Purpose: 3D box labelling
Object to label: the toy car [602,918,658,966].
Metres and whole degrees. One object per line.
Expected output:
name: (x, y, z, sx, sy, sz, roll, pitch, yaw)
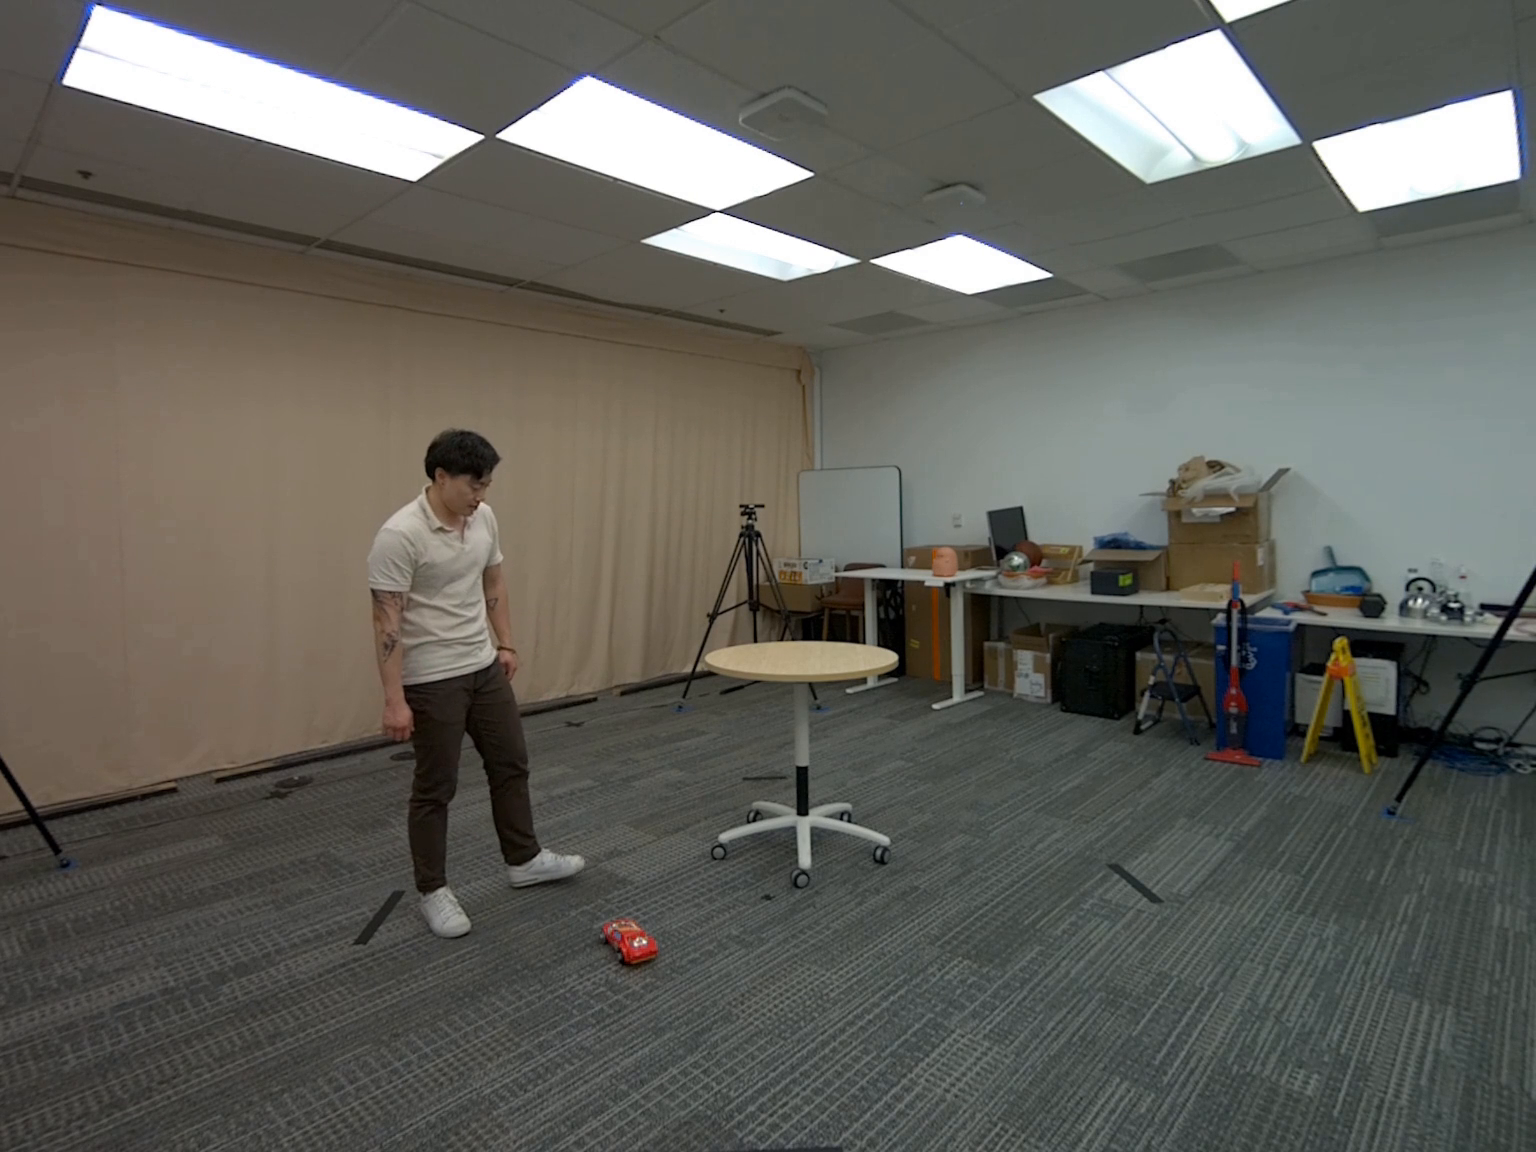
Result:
toy car: (-0.434, 1.152, 2.617, 0.127, 0.083, 0.260, -4, -5, -32)
